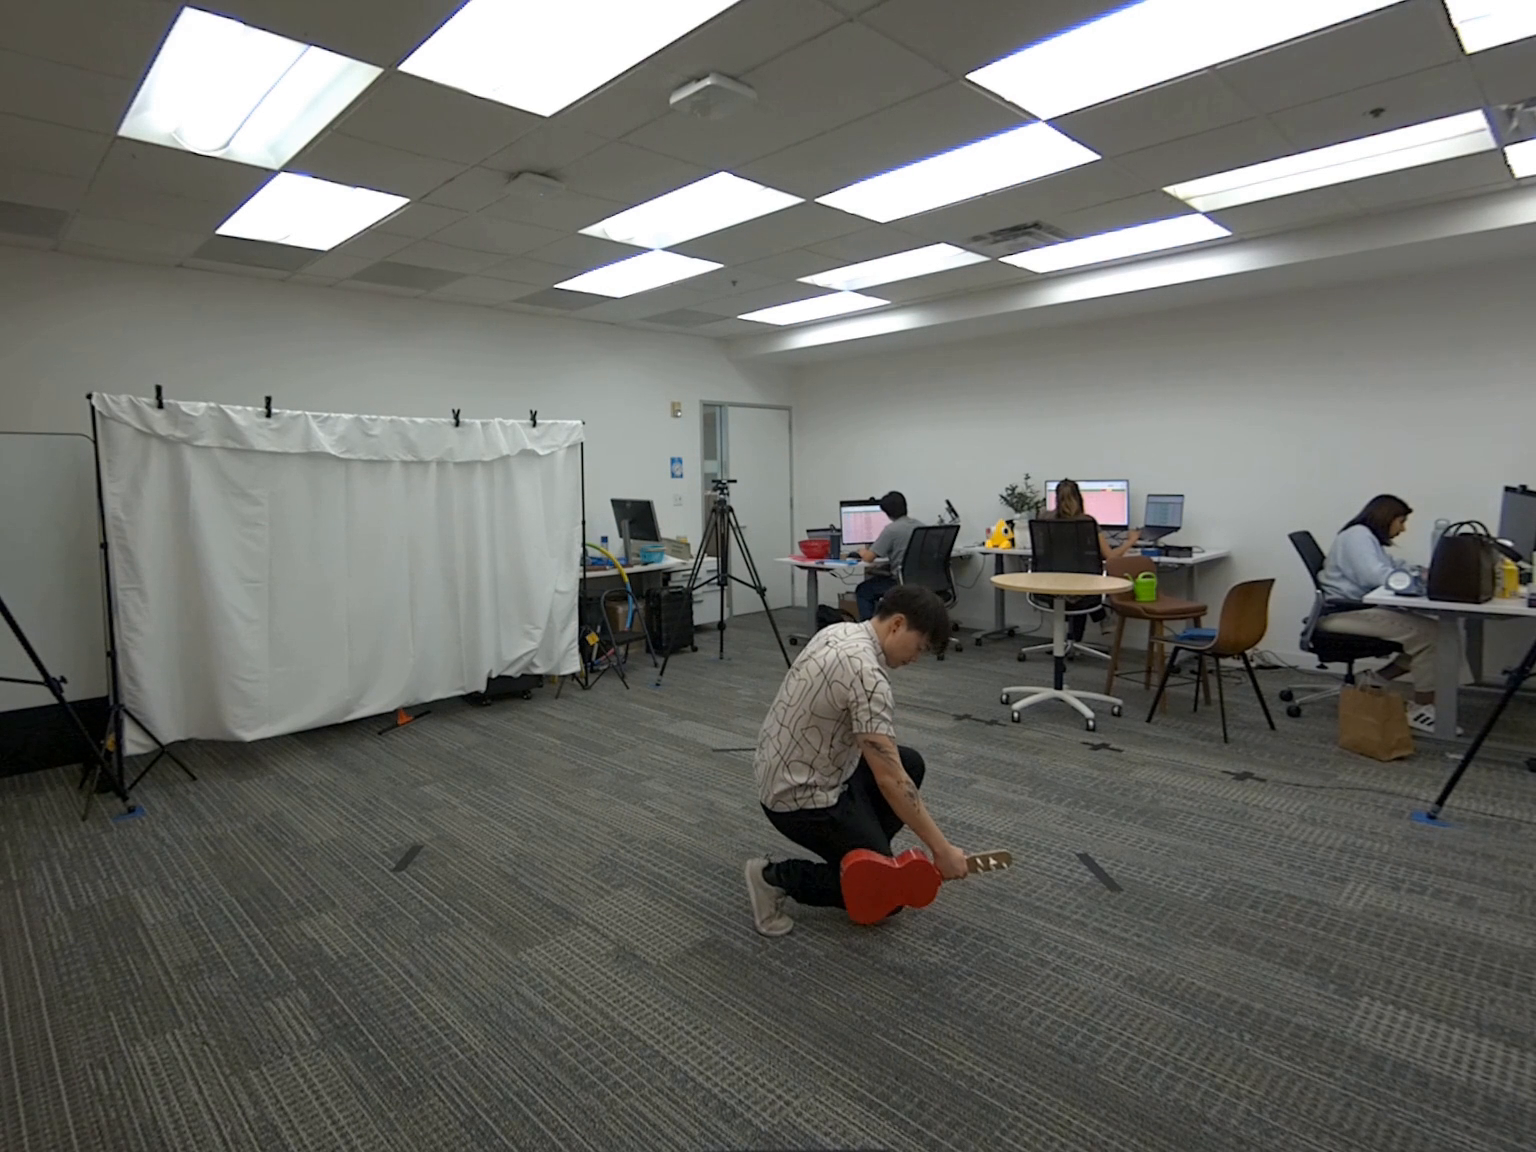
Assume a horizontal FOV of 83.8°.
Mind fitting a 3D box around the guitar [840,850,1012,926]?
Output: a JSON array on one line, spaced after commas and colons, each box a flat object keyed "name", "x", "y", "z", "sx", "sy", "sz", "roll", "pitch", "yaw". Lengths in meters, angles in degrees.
[{"name": "guitar", "x": 0.454, "y": 0.829, "z": 2.425, "sx": 0.497, "sy": 0.191, "sz": 0.071, "roll": -17, "pitch": 7, "yaw": -1}]
